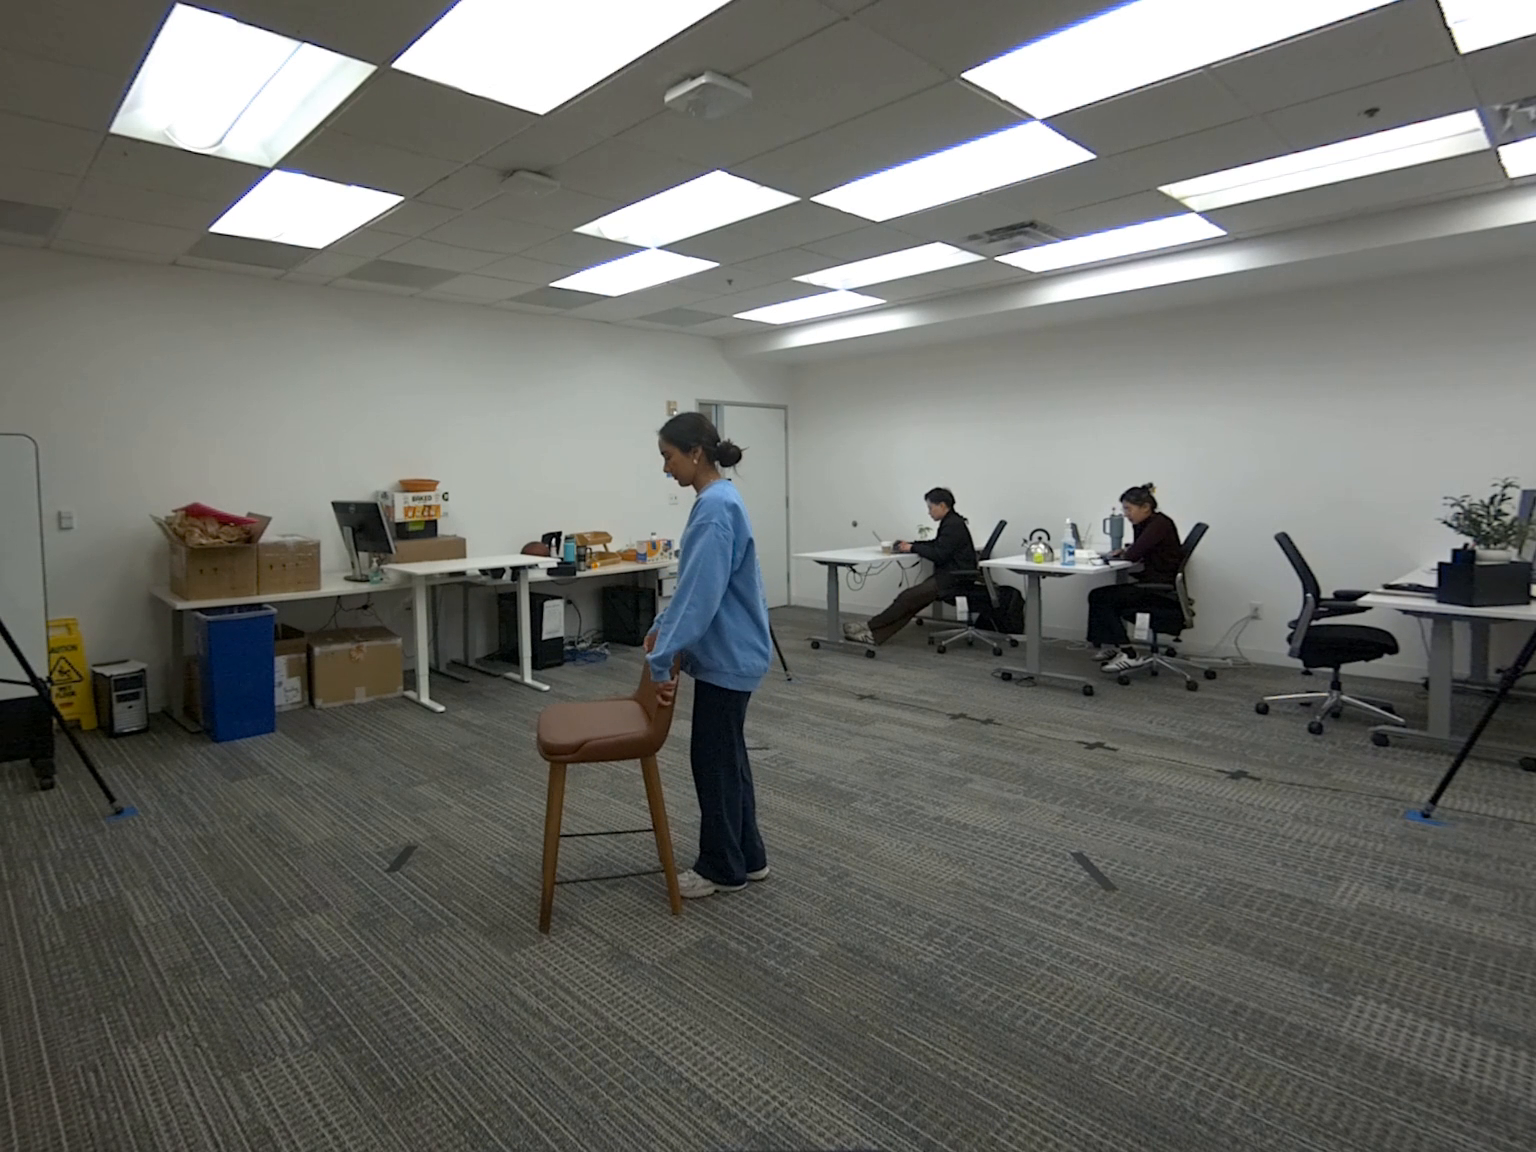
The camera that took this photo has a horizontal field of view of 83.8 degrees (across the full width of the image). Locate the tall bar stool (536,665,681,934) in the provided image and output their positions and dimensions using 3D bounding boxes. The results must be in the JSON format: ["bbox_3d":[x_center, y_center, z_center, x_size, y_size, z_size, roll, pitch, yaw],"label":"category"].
[{"bbox_3d":[-0.534,0.641,2.850,0.461,0.886,0.464,0,5,-14],"label":"tall bar stool"}]
